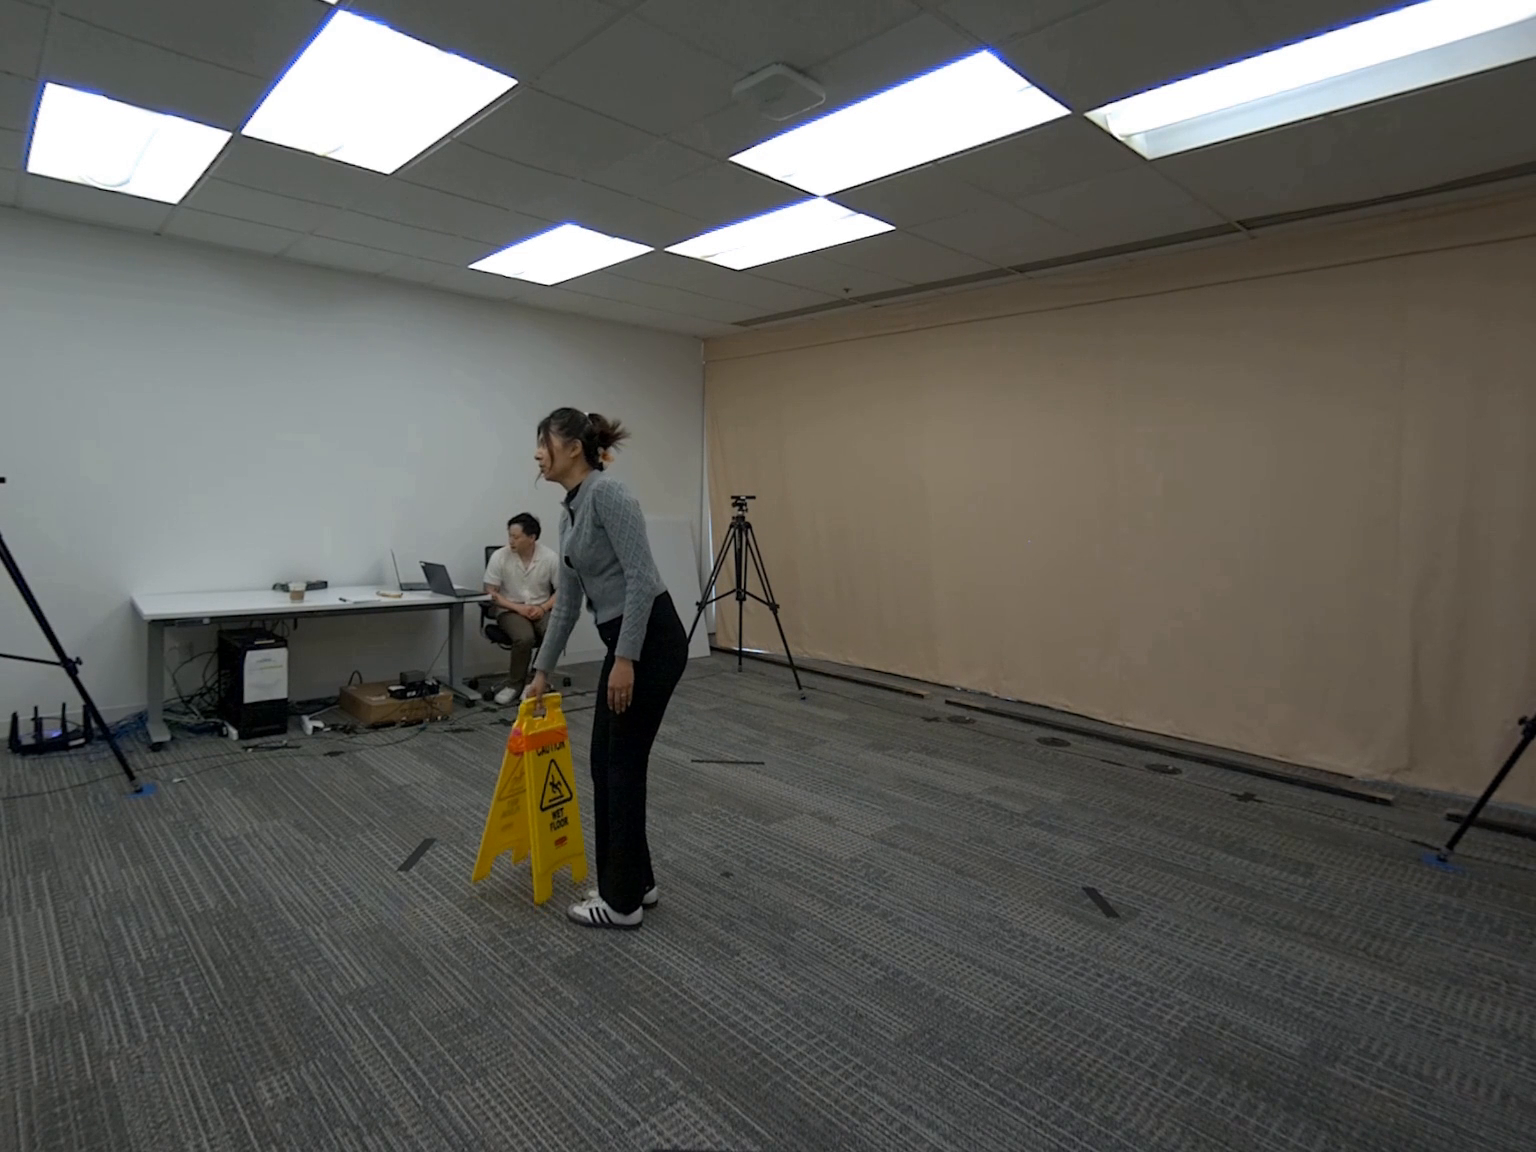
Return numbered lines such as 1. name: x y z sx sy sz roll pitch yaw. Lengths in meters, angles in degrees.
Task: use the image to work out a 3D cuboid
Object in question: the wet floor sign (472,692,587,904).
1. wet floor sign: -0.822 0.738 2.937 0.295 0.646 0.276 3 0 26
